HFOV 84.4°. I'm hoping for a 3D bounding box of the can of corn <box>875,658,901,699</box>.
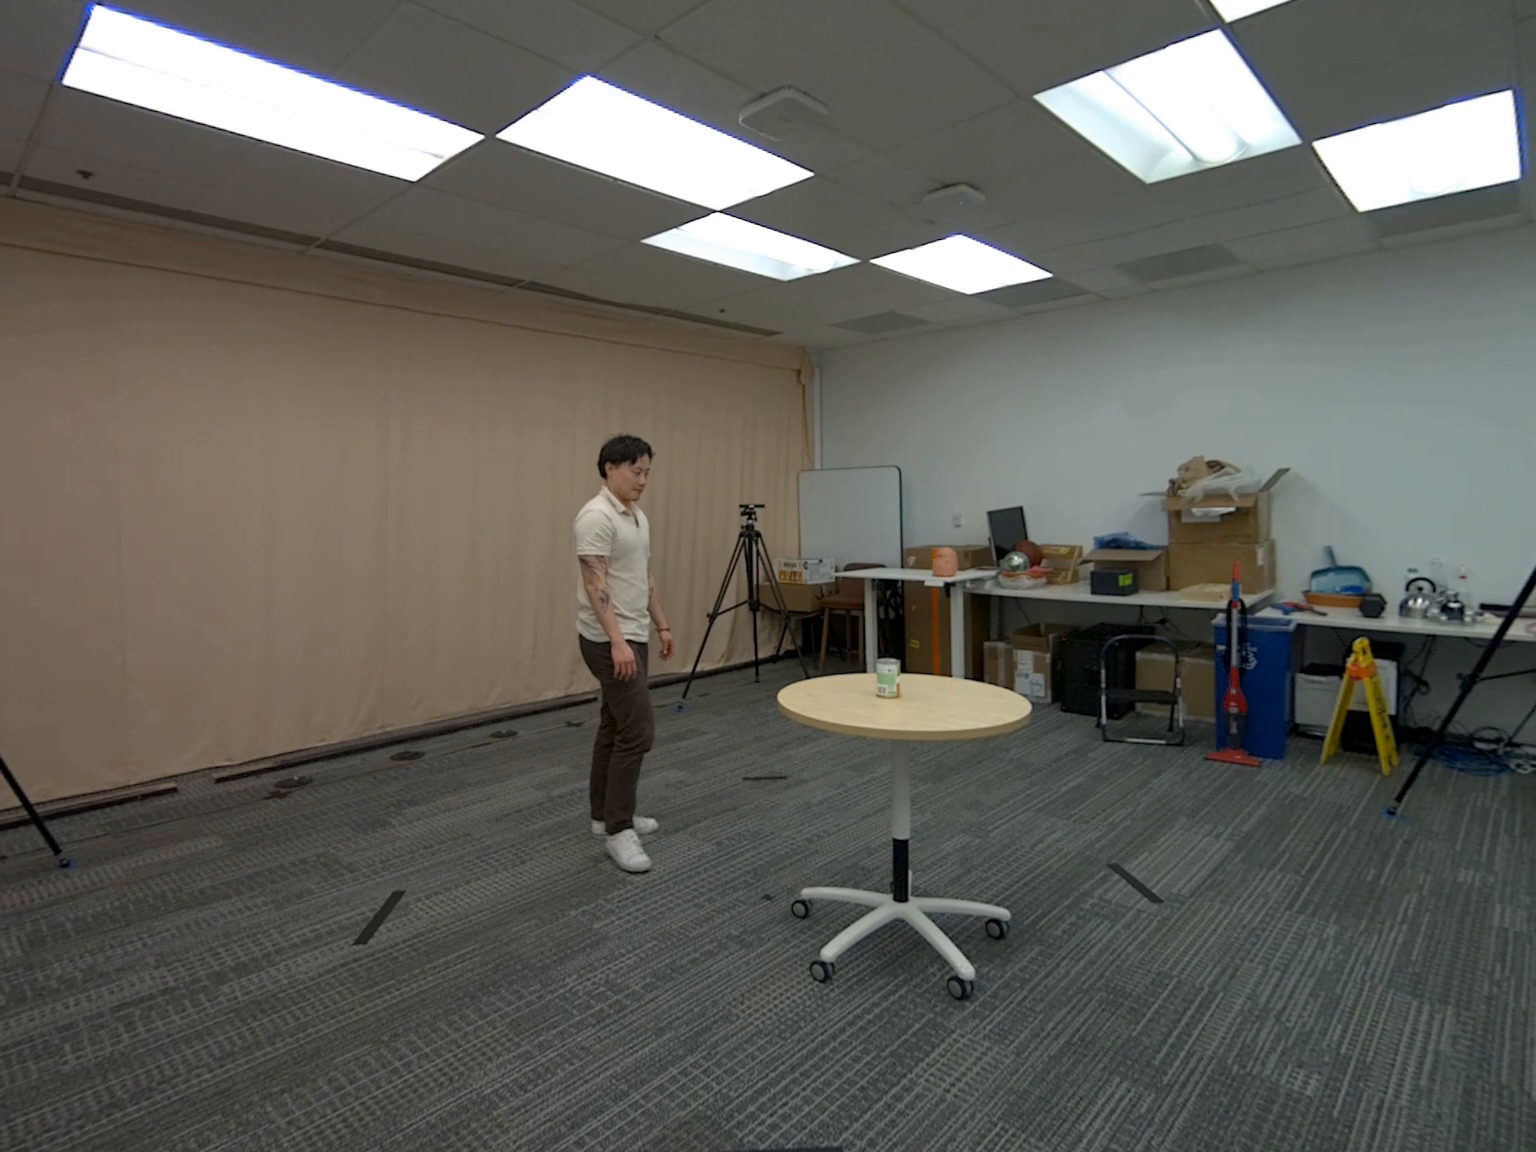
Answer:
[{"bbox_3d":[0.387,0.322,2.633,0.074,0.111,0.074,0,4,-2],"label":"can of corn"}]
